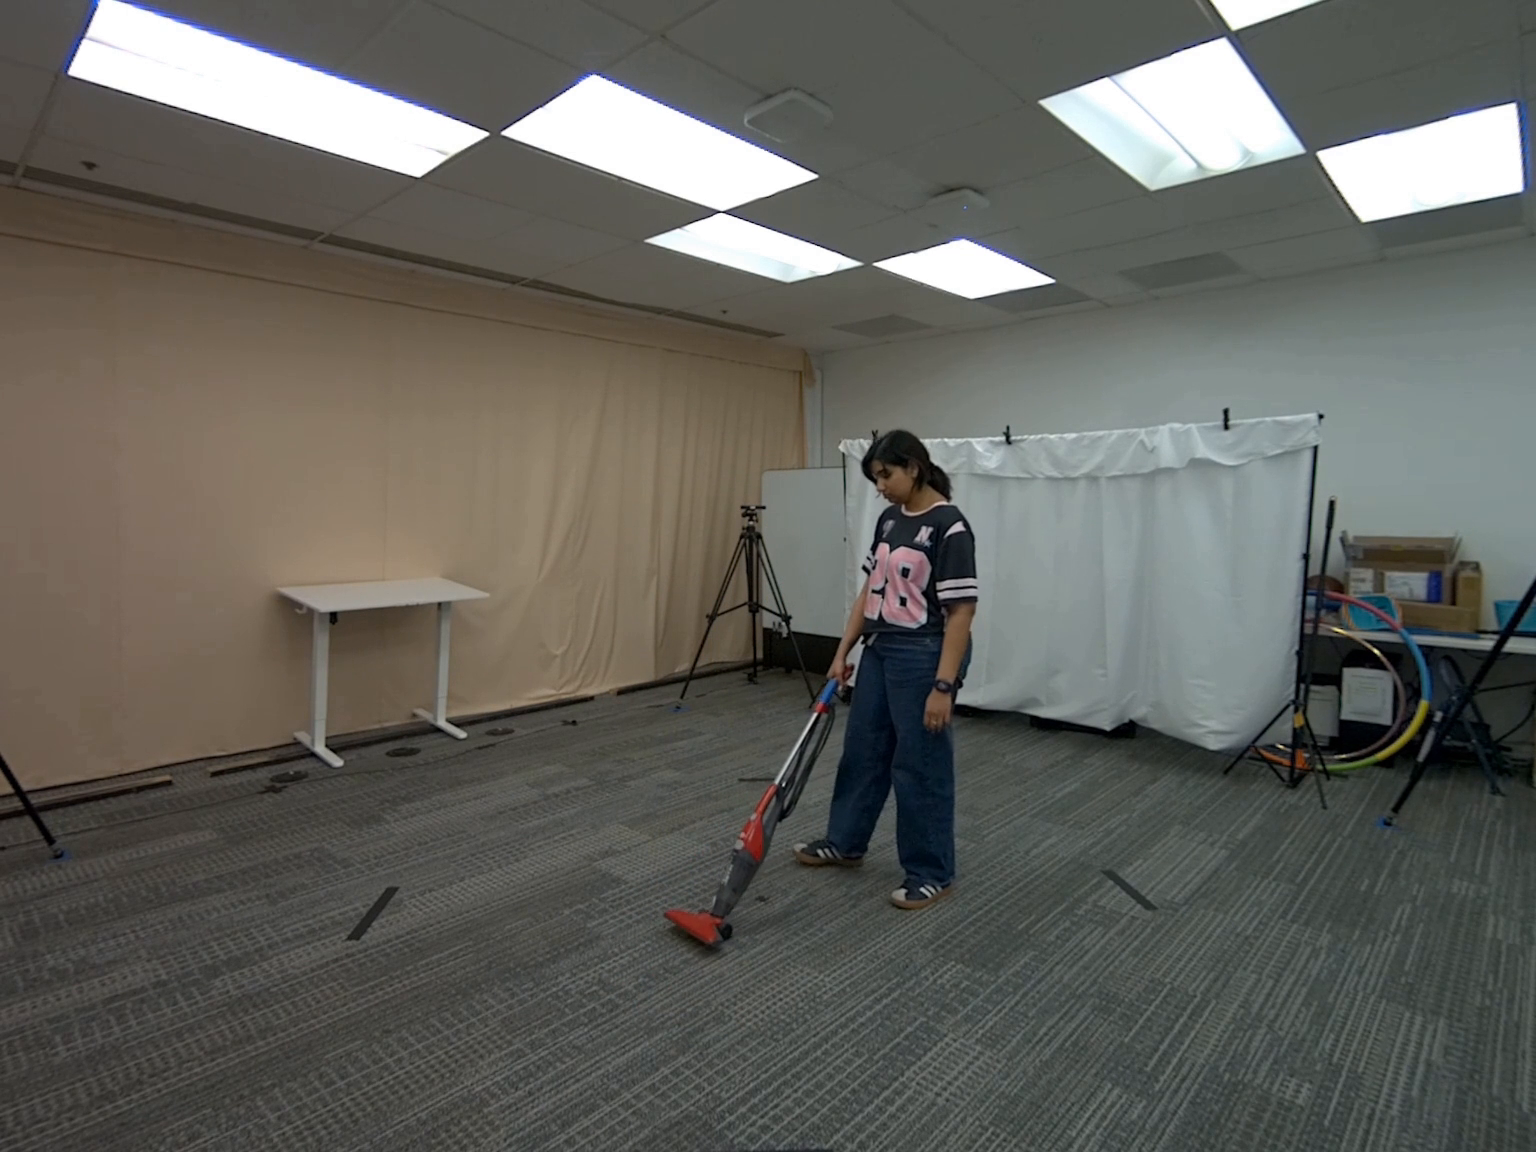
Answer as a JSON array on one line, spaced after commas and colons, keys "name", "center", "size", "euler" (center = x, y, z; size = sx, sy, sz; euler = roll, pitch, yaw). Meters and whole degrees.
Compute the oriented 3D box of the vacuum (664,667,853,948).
[{"name": "vacuum", "center": [0.040, 0.747, 2.919], "size": [0.261, 1.047, 0.139], "euler": [9, -34, 45]}]
